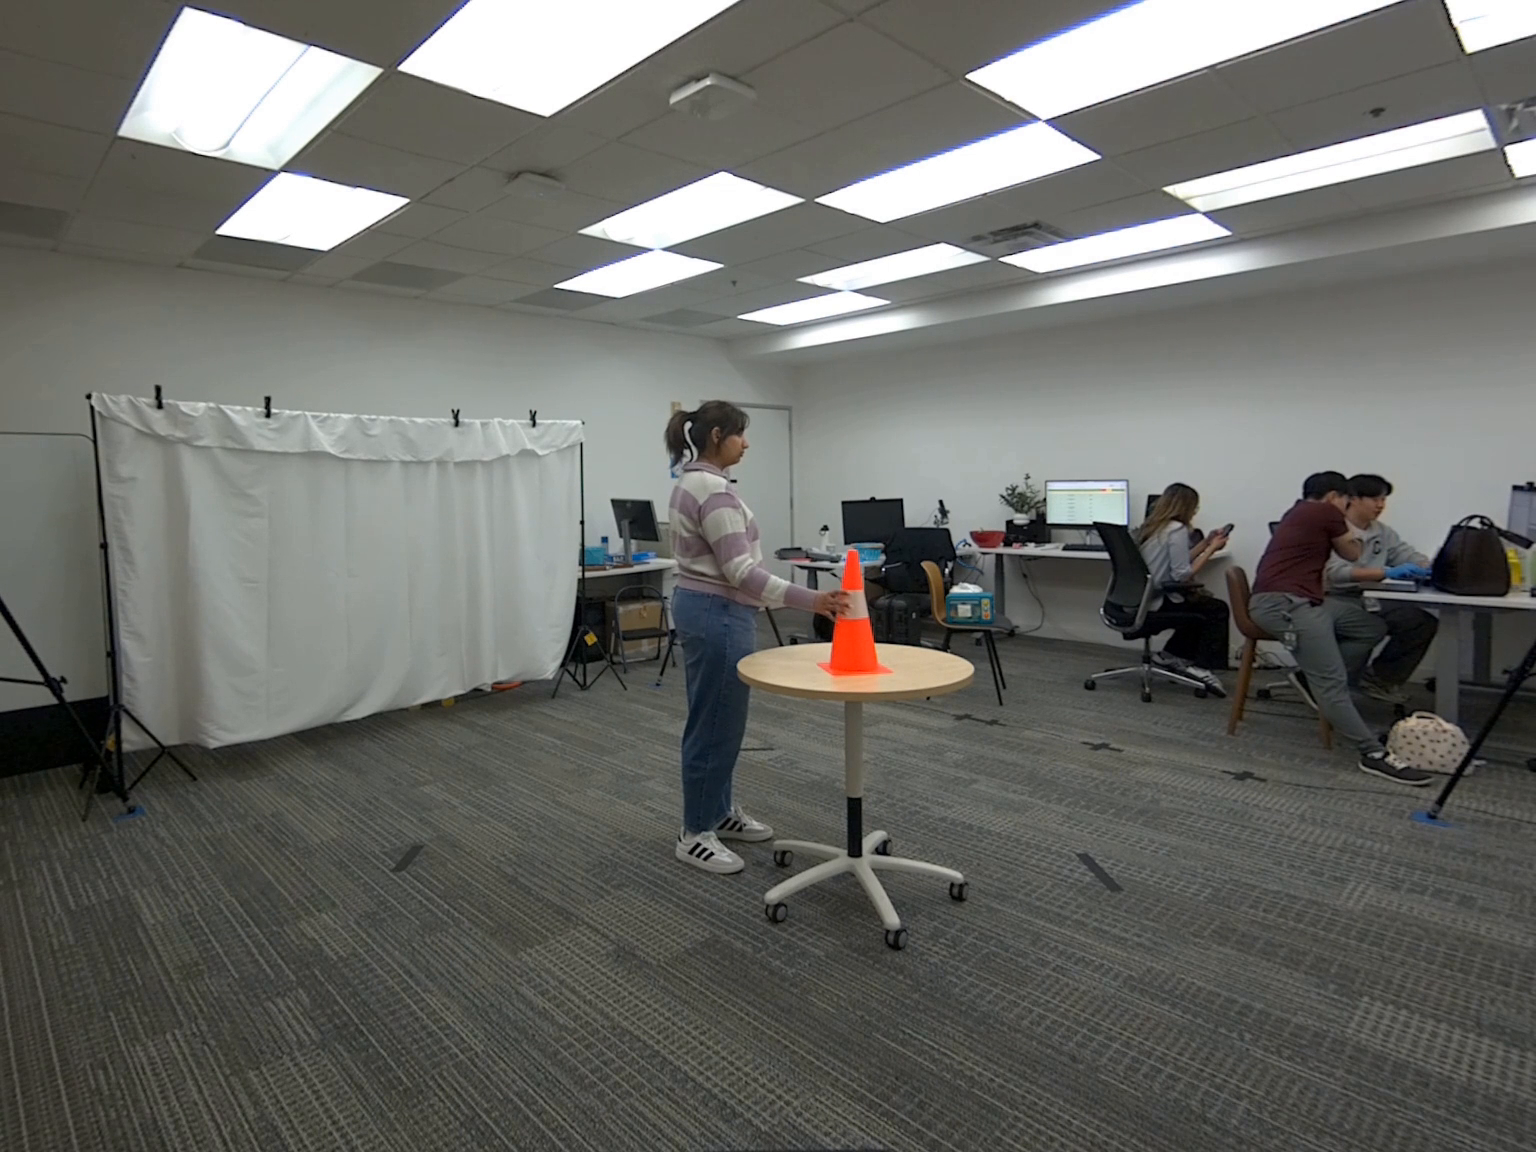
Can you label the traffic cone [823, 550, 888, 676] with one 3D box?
[{"bbox_3d":[0.273,0.112,2.740,0.203,0.382,0.206,-3,4,-13],"label":"traffic cone"}]
